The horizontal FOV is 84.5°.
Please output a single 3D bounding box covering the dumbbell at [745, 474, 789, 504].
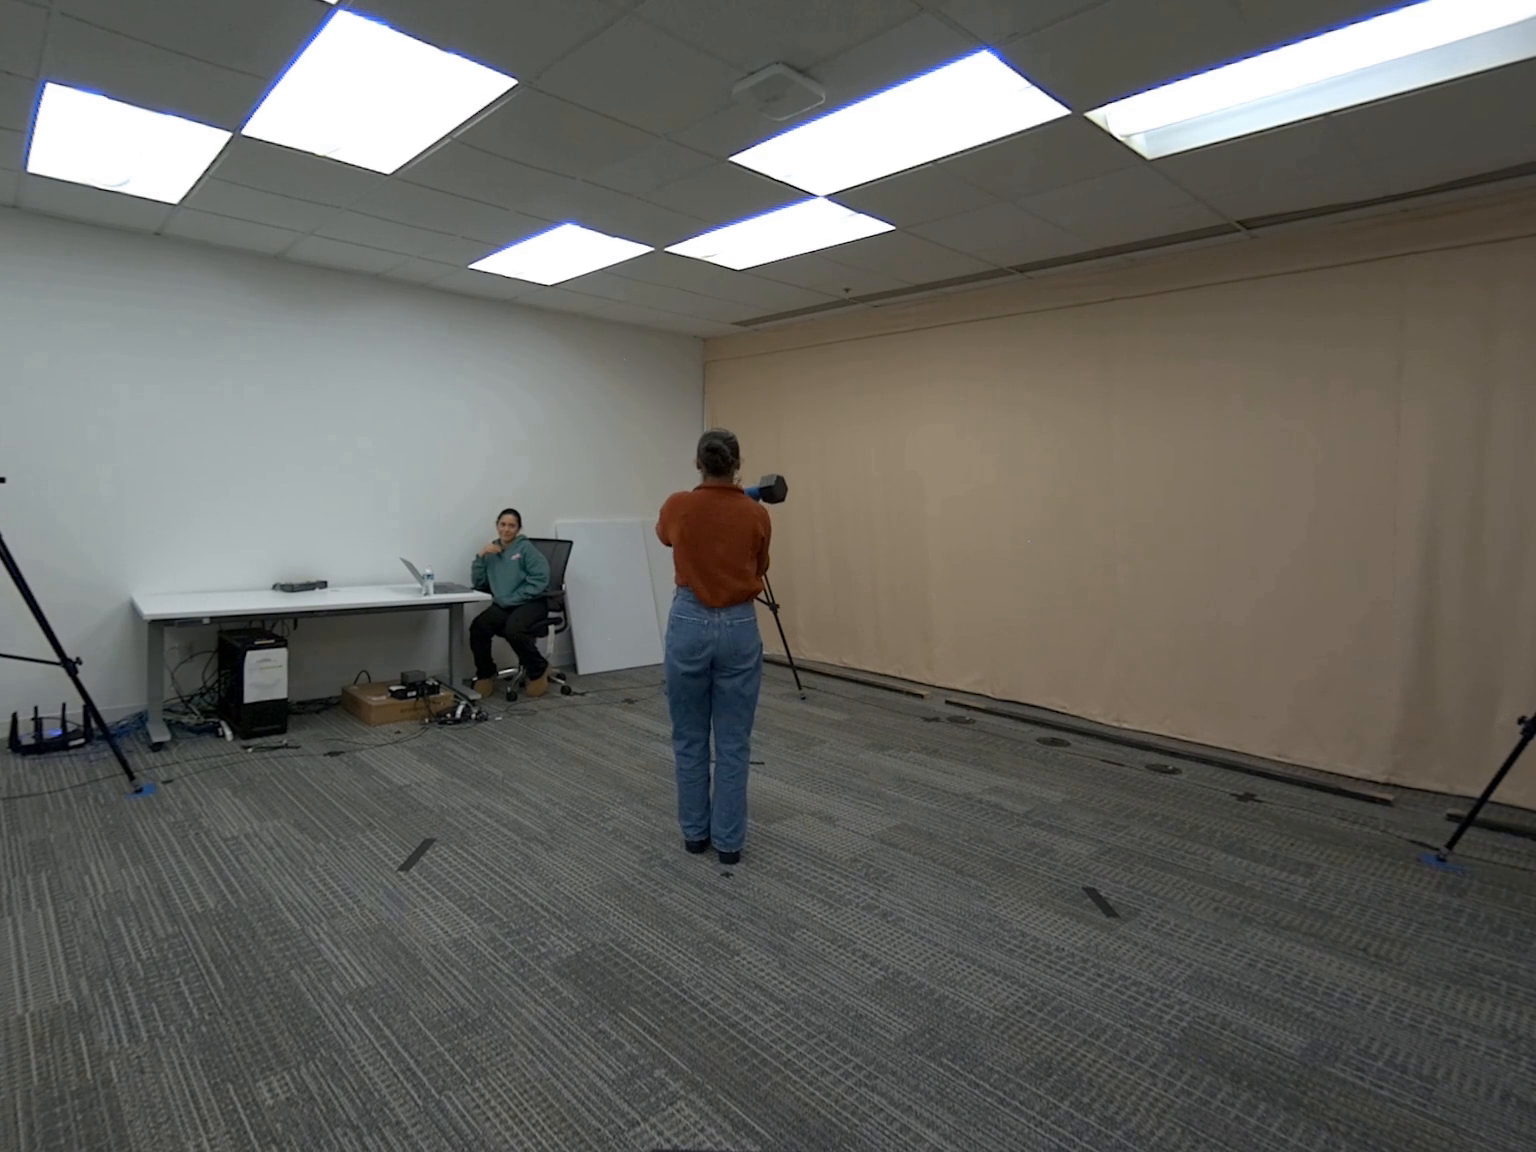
[{"bbox_3d":[-0.072,-0.347,3.454,0.299,0.124,0.105,-9,-41,38],"label":"dumbbell"}]
